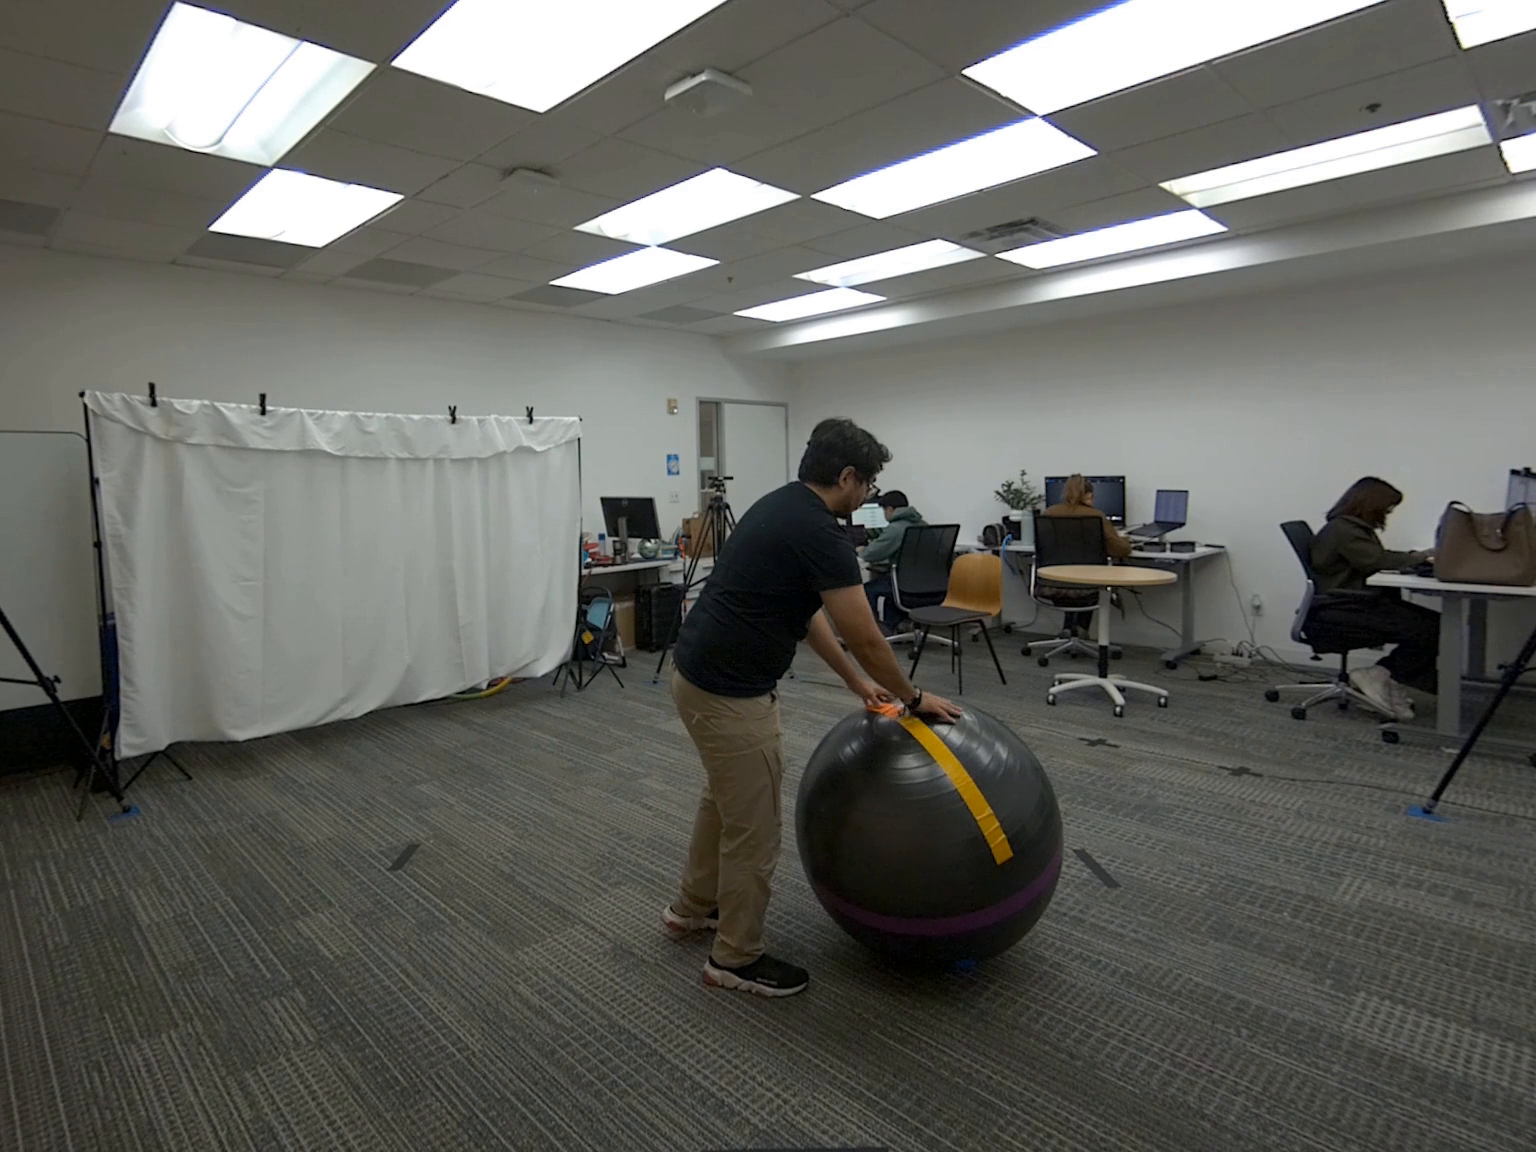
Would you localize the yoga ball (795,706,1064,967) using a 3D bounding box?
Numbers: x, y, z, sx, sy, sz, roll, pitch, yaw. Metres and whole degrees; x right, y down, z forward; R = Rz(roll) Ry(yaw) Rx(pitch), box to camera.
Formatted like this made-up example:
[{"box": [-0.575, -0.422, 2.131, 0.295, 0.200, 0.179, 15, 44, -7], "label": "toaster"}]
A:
[{"box": [0.469, 0.737, 2.501, 0.757, 0.755, 0.762, -1, 5, -2], "label": "yoga ball"}]
